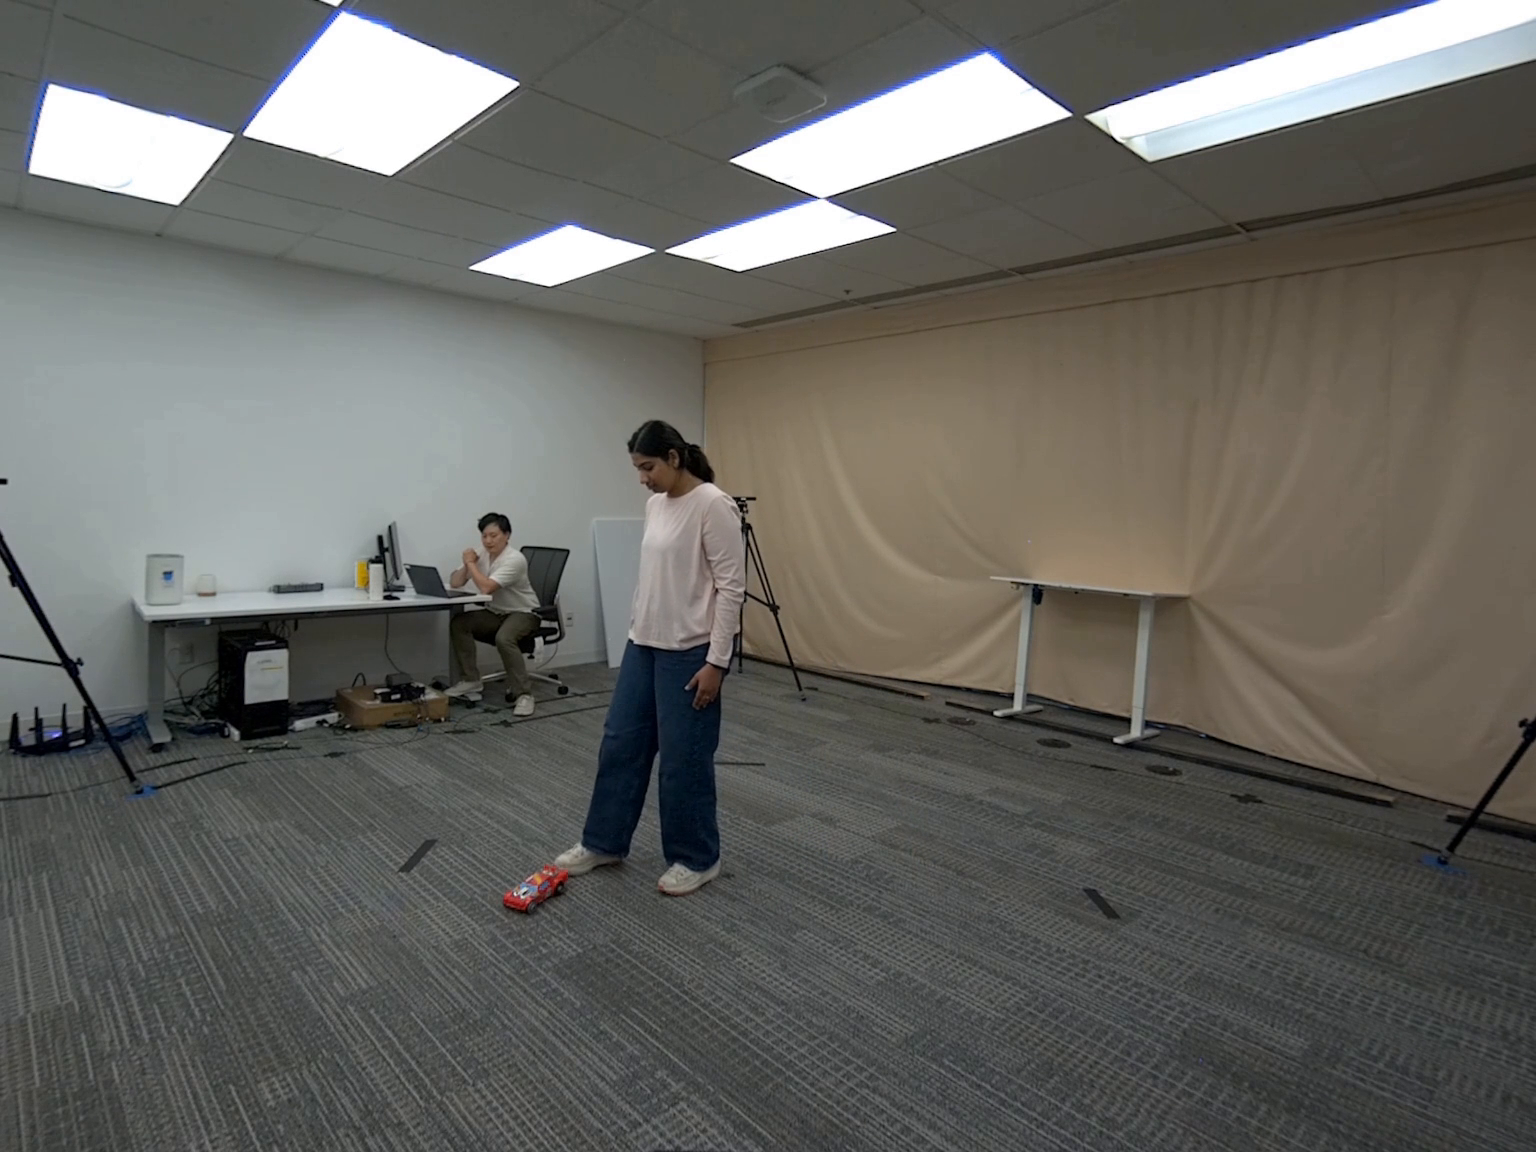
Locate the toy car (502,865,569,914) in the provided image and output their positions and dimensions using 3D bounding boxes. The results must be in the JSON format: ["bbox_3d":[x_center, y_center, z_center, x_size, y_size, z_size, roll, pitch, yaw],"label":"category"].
[{"bbox_3d":[-0.807,1.084,2.894,0.133,0.082,0.252,2,16,24],"label":"toy car"}]
